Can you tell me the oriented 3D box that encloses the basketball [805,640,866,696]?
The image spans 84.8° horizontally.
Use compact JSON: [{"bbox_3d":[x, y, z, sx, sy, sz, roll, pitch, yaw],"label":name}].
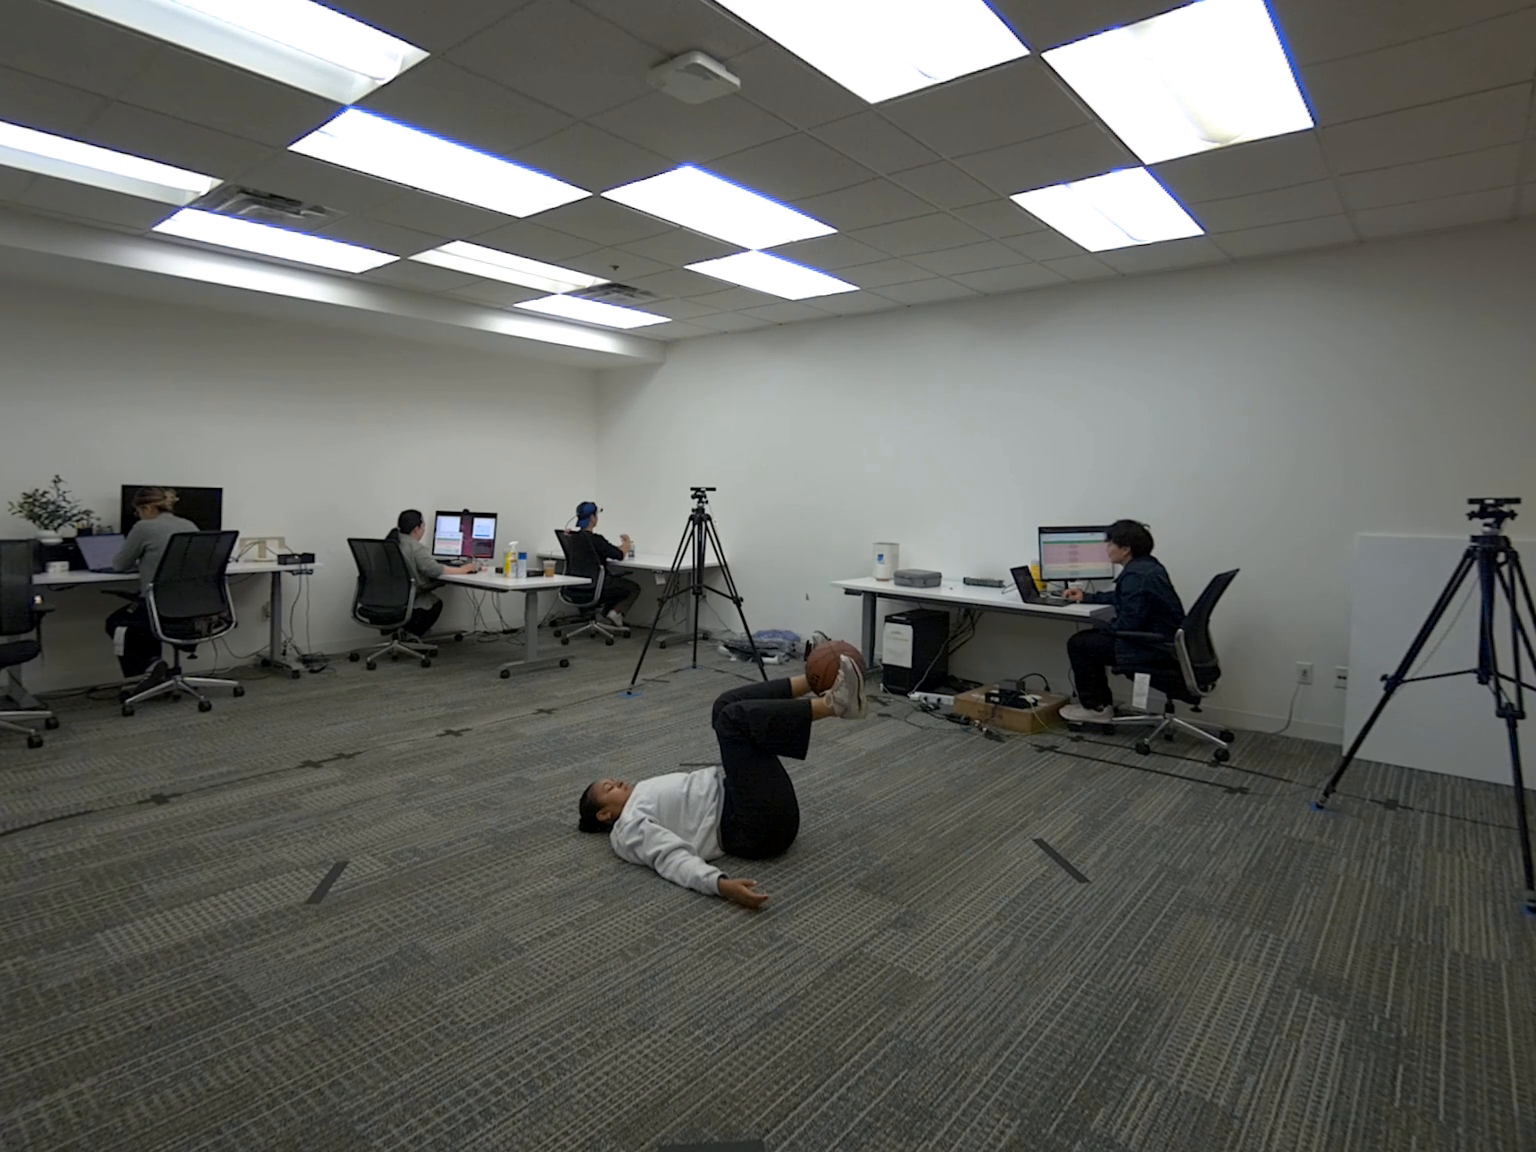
[{"bbox_3d":[0.248,0.364,3.306,0.236,0.234,0.238,-2,8,-2],"label":"basketball"}]
